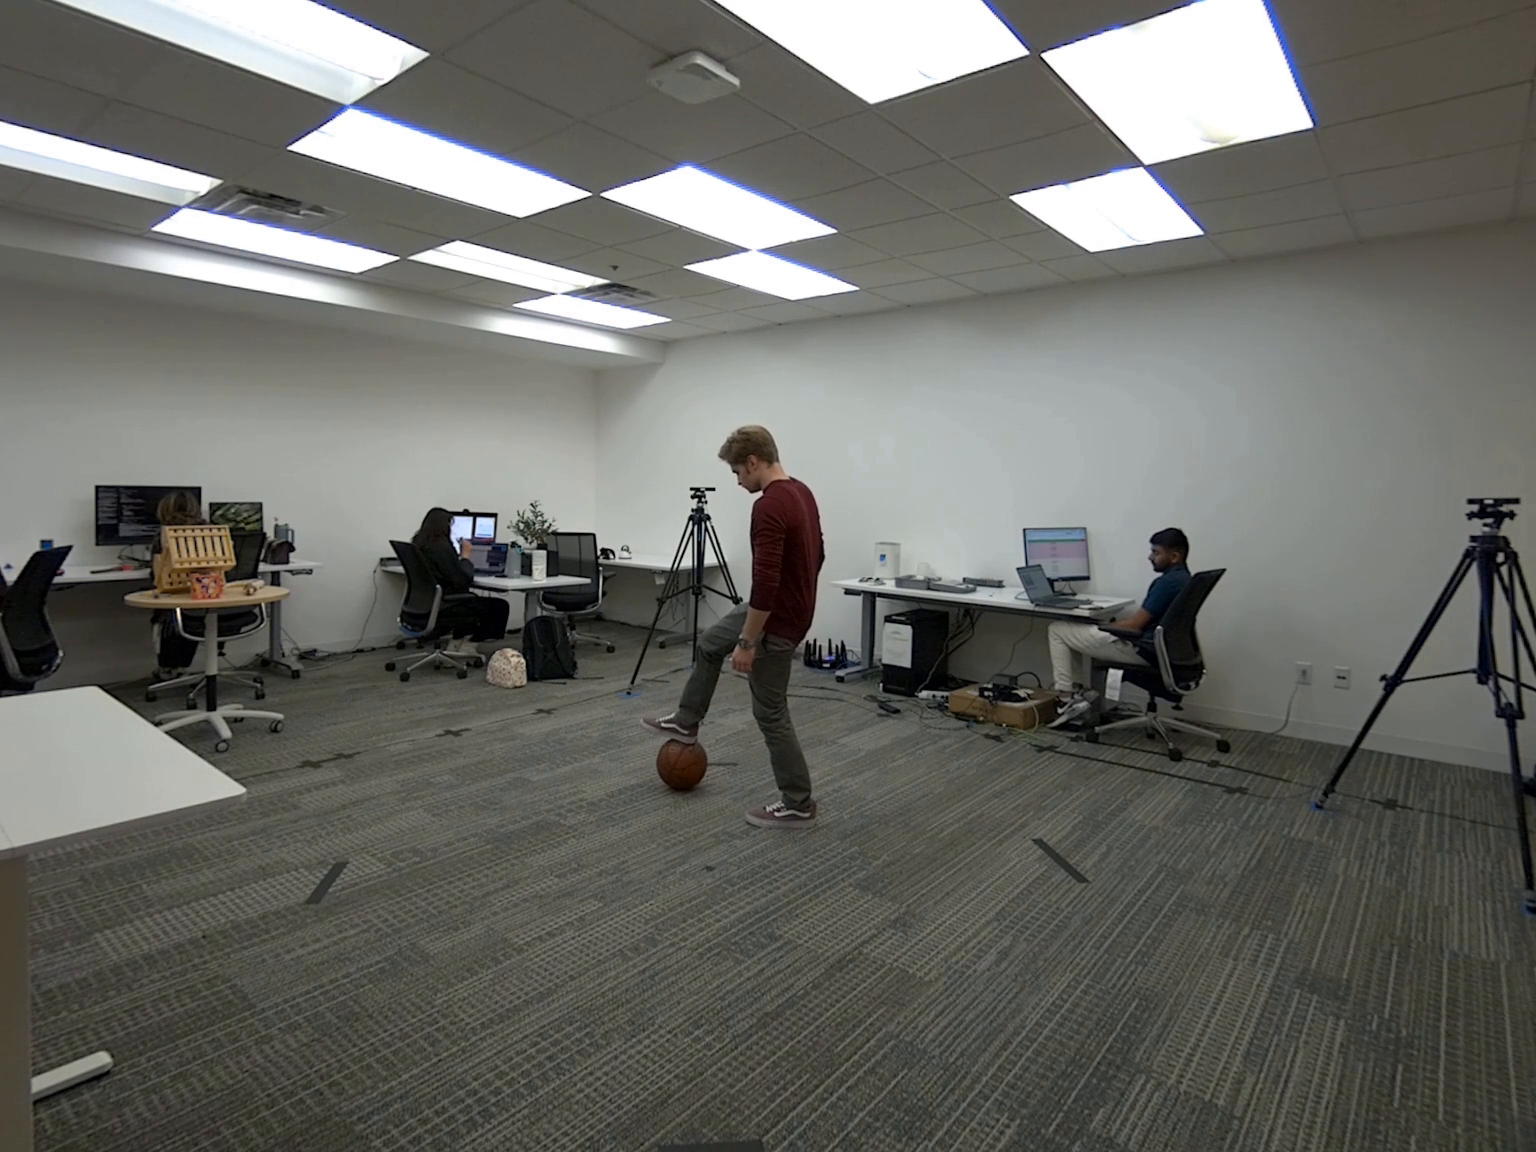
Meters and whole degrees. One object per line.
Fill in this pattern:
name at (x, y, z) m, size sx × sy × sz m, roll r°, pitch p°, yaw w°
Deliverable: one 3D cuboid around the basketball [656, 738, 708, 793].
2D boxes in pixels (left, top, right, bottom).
basketball at (-0.408, 0.865, 3.951) m, size 0.235 × 0.235 × 0.237 m, roll 1°, pitch 4°, yaw -2°
